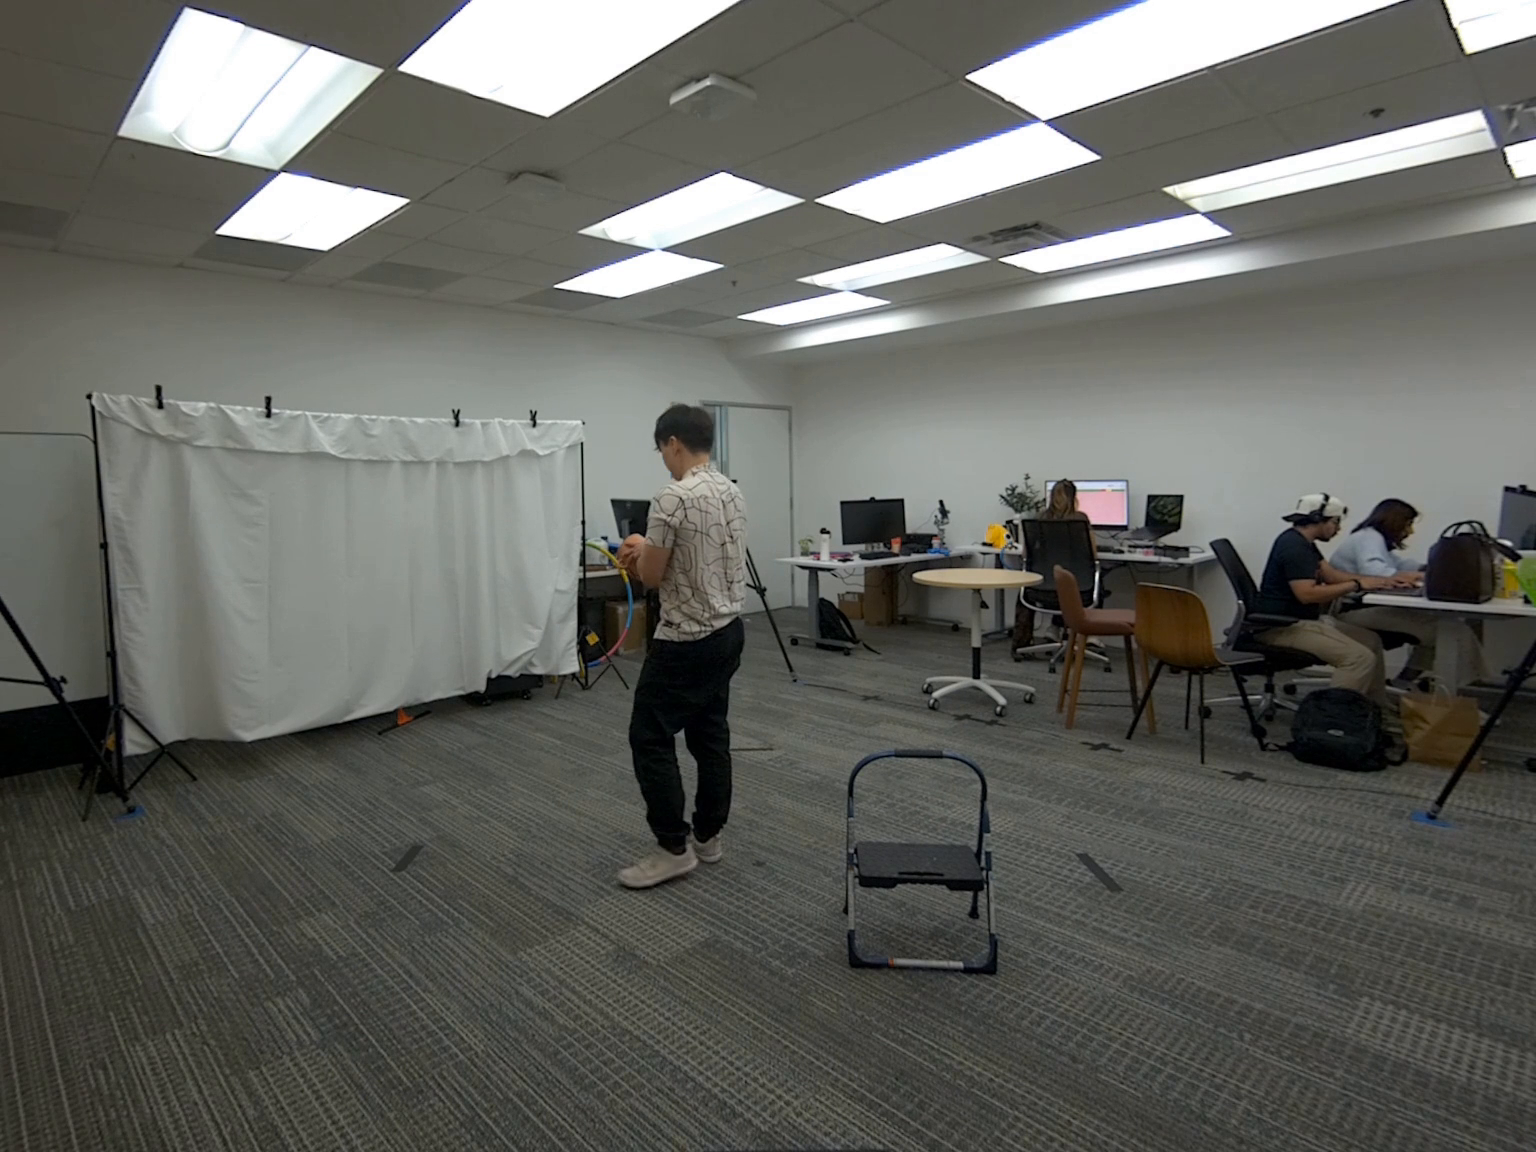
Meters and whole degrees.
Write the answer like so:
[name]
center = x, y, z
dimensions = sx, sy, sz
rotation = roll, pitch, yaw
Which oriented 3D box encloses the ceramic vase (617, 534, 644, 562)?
[ceramic vase]
center = -0.458, -0.055, 3.329
dimensions = 0.227, 0.159, 0.130
rotation = 36, 4, 27
